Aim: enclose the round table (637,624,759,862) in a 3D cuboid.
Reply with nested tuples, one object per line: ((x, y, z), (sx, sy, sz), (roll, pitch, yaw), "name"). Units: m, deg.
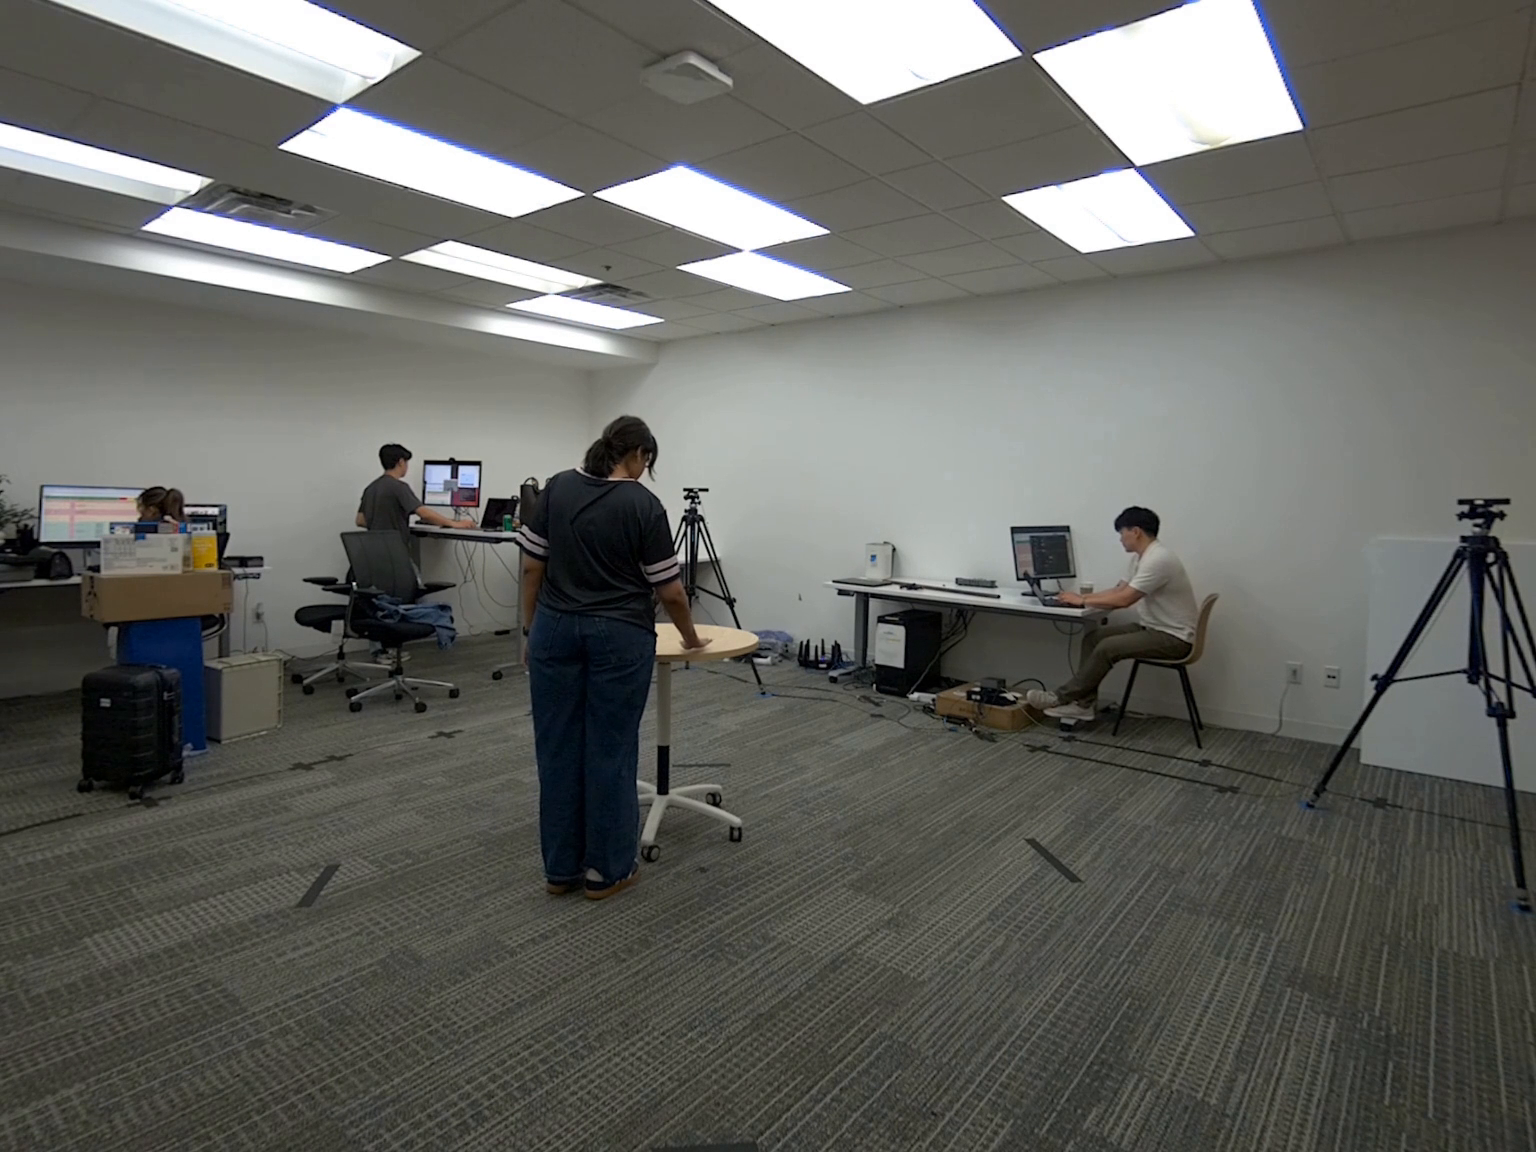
((-0.447, 0.636, 3.483), (0.784, 0.784, 0.789), (1, 4, -2), "round table")
